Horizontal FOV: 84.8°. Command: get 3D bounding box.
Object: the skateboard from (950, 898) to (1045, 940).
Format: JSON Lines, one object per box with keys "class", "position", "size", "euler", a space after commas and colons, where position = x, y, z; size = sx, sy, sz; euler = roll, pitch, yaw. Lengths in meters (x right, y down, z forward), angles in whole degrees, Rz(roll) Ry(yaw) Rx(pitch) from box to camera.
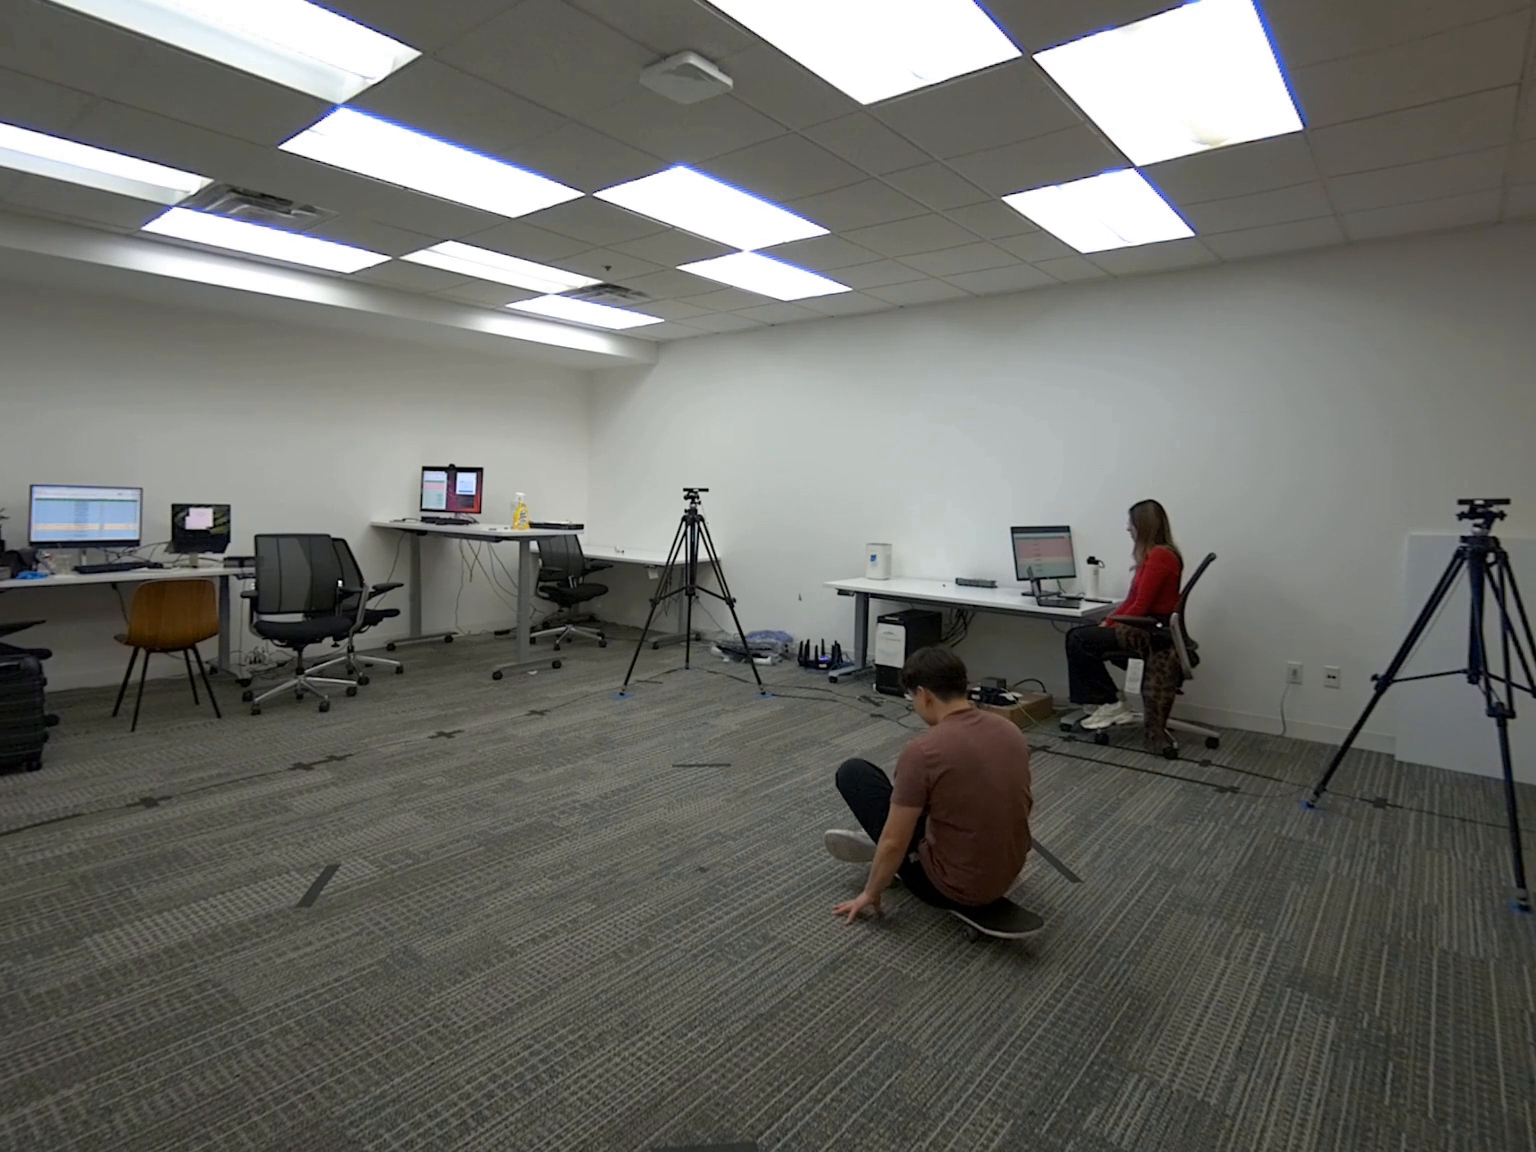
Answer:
{"class": "skateboard", "position": [0.583, 1.054, 2.867], "size": [0.188, 0.109, 0.811], "euler": [-6, 9, -32]}
